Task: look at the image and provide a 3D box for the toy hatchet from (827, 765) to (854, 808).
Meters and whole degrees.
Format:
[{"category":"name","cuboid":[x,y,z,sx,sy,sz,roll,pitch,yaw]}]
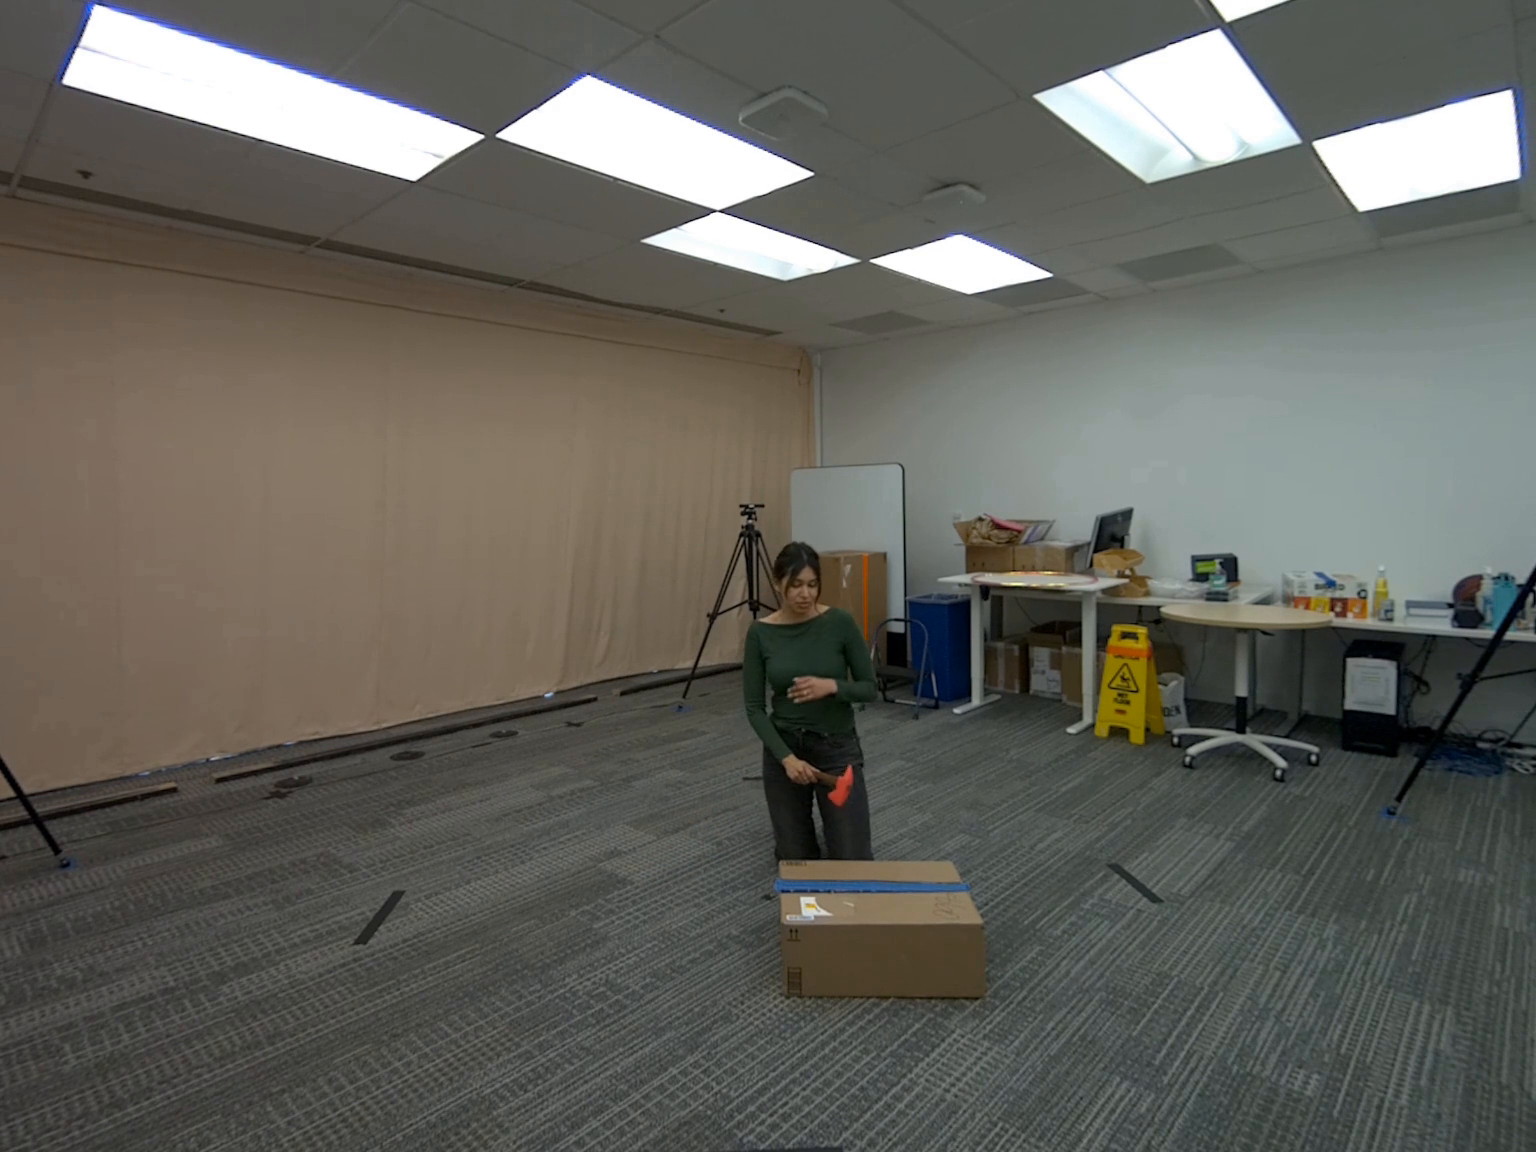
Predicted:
[{"category":"toy hatchet","cuboid":[0.191,0.720,2.883,0.028,0.132,0.276,24,-29,-36]}]
